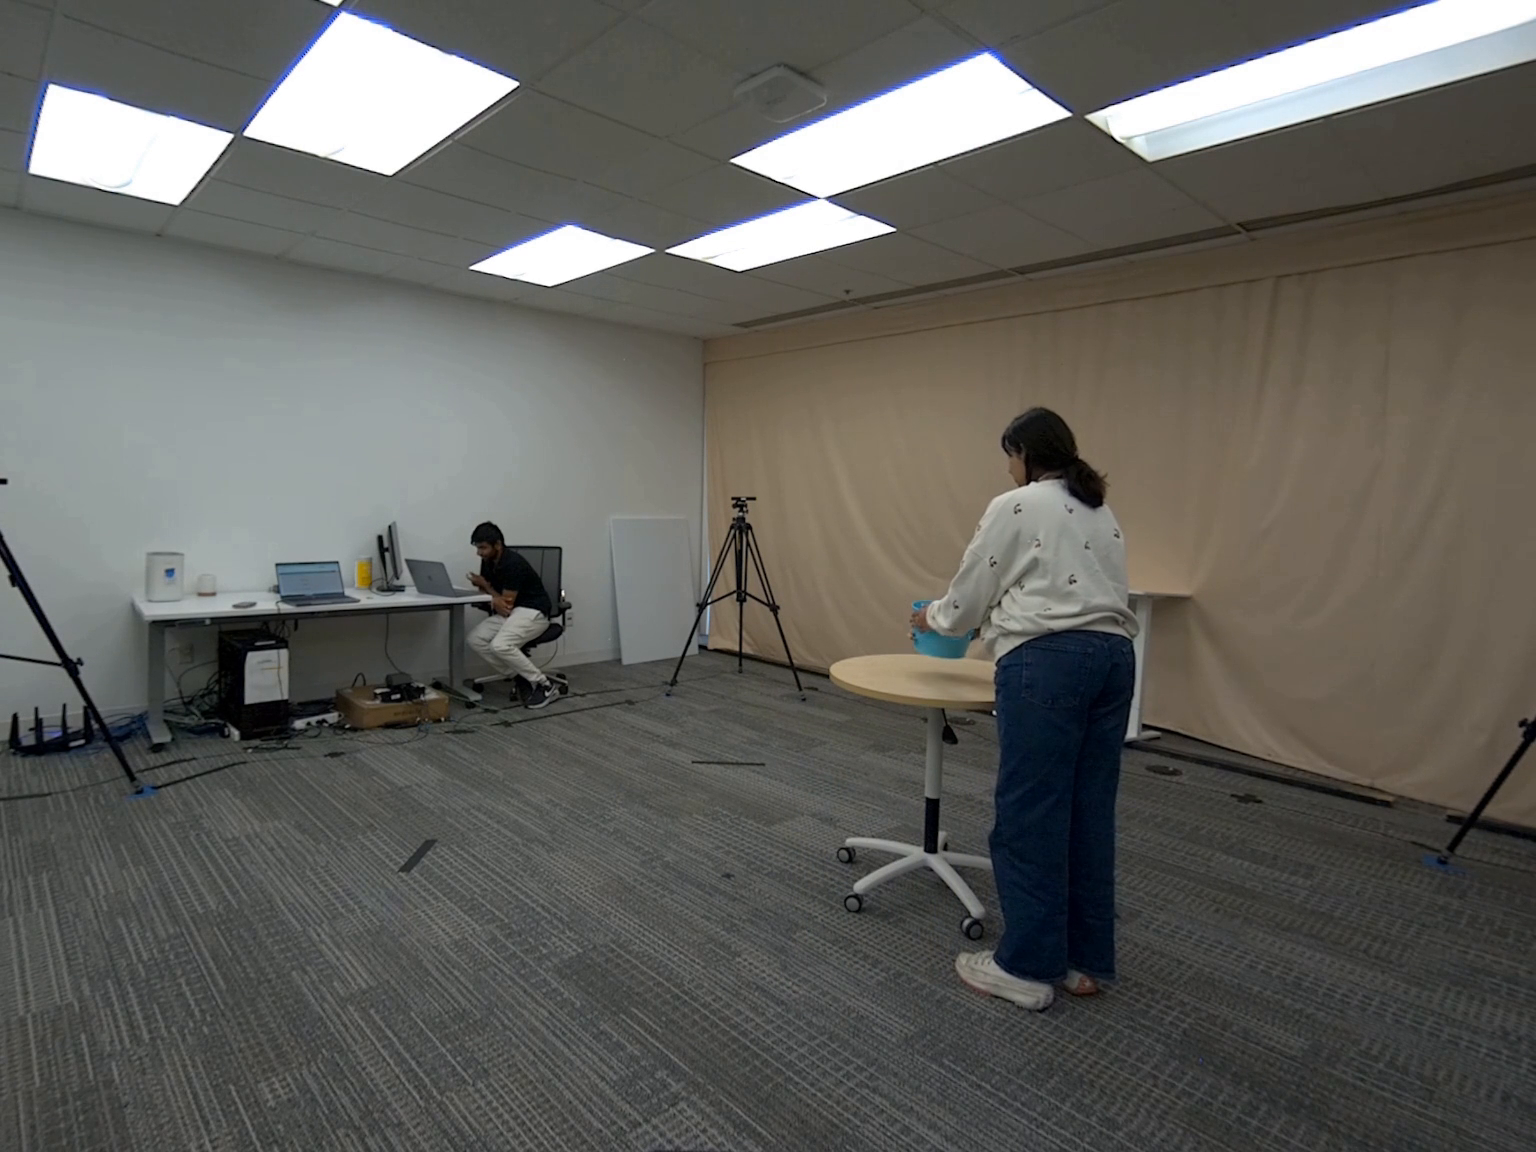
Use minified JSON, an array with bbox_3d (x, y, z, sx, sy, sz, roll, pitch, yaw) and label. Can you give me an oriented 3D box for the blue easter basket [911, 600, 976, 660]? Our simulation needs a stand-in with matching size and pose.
[{"bbox_3d":[0.625,0.198,2.956,0.243,0.155,0.246,7,12,-3],"label":"blue easter basket"}]
